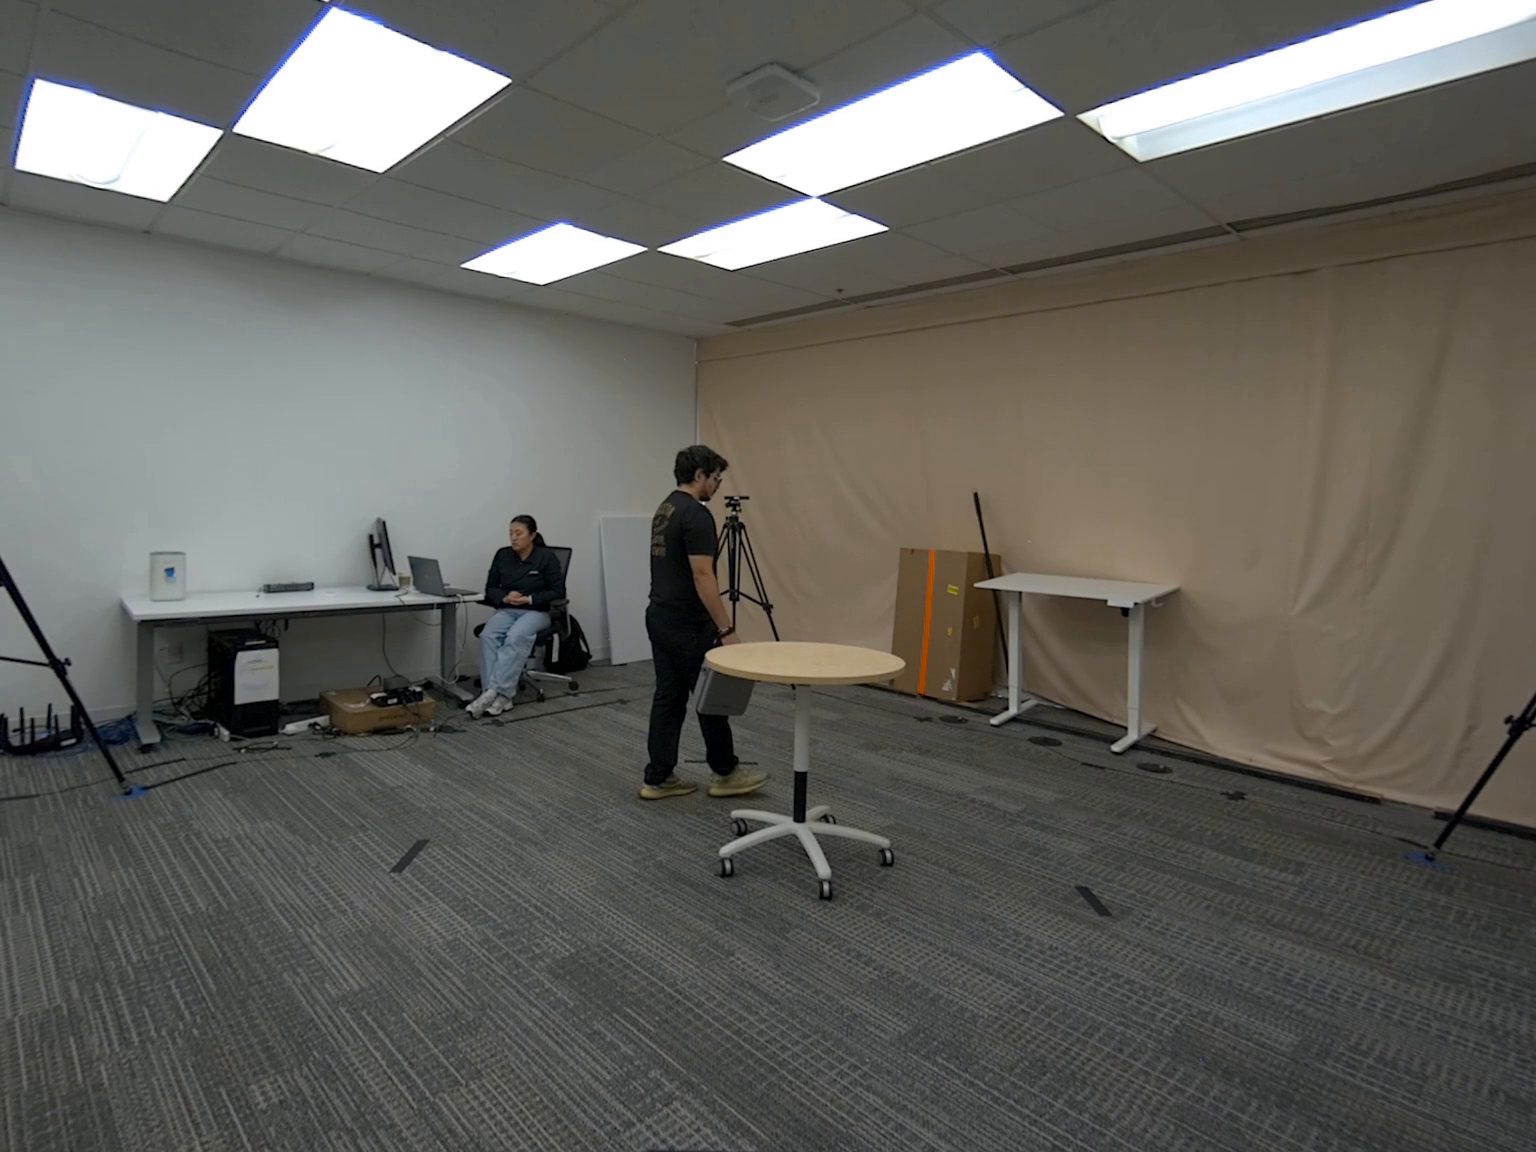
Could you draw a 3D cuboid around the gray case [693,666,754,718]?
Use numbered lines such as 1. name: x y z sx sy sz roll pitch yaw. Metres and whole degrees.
1. gray case: -0.197 0.483 3.715 0.251 0.259 0.107 10 12 -30
